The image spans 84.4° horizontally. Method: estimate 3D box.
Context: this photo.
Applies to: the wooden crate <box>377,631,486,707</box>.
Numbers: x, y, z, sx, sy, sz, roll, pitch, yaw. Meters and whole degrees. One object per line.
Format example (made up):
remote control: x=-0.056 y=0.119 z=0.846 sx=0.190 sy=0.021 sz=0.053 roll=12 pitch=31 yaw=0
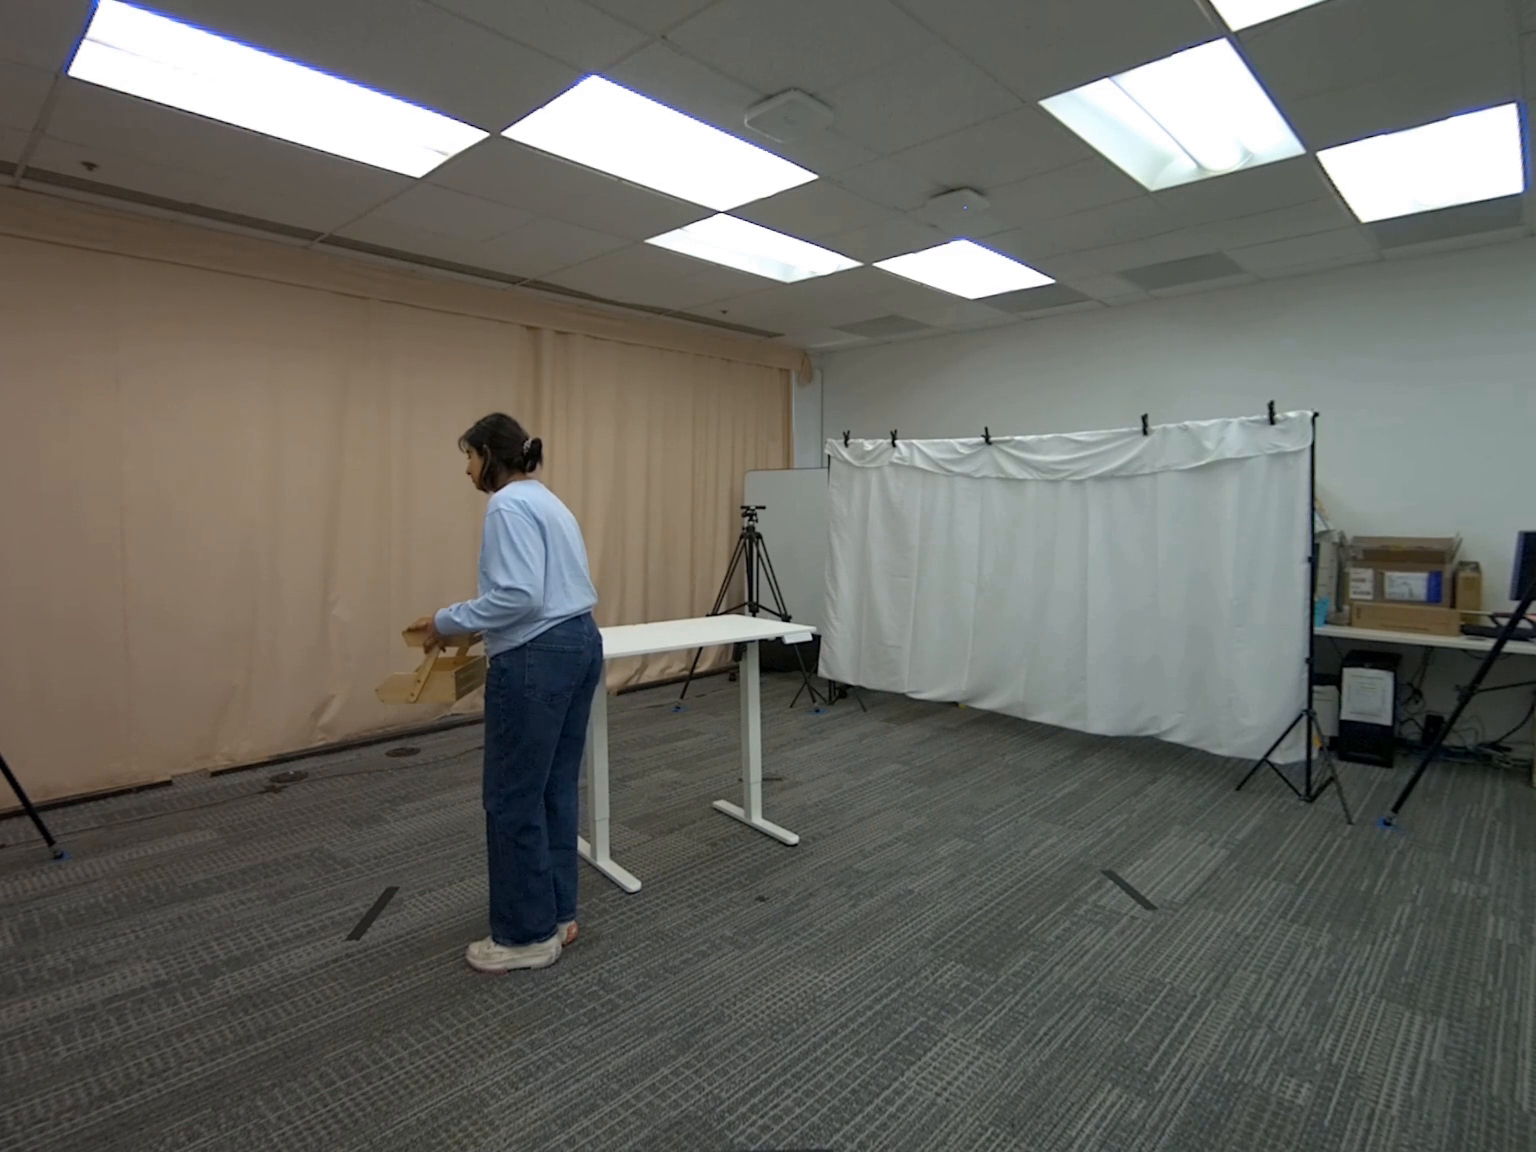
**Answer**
wooden crate: x=-1.047 y=0.238 z=2.682 sx=0.303 sy=0.272 sz=0.325 roll=-3 pitch=4 yaw=1
